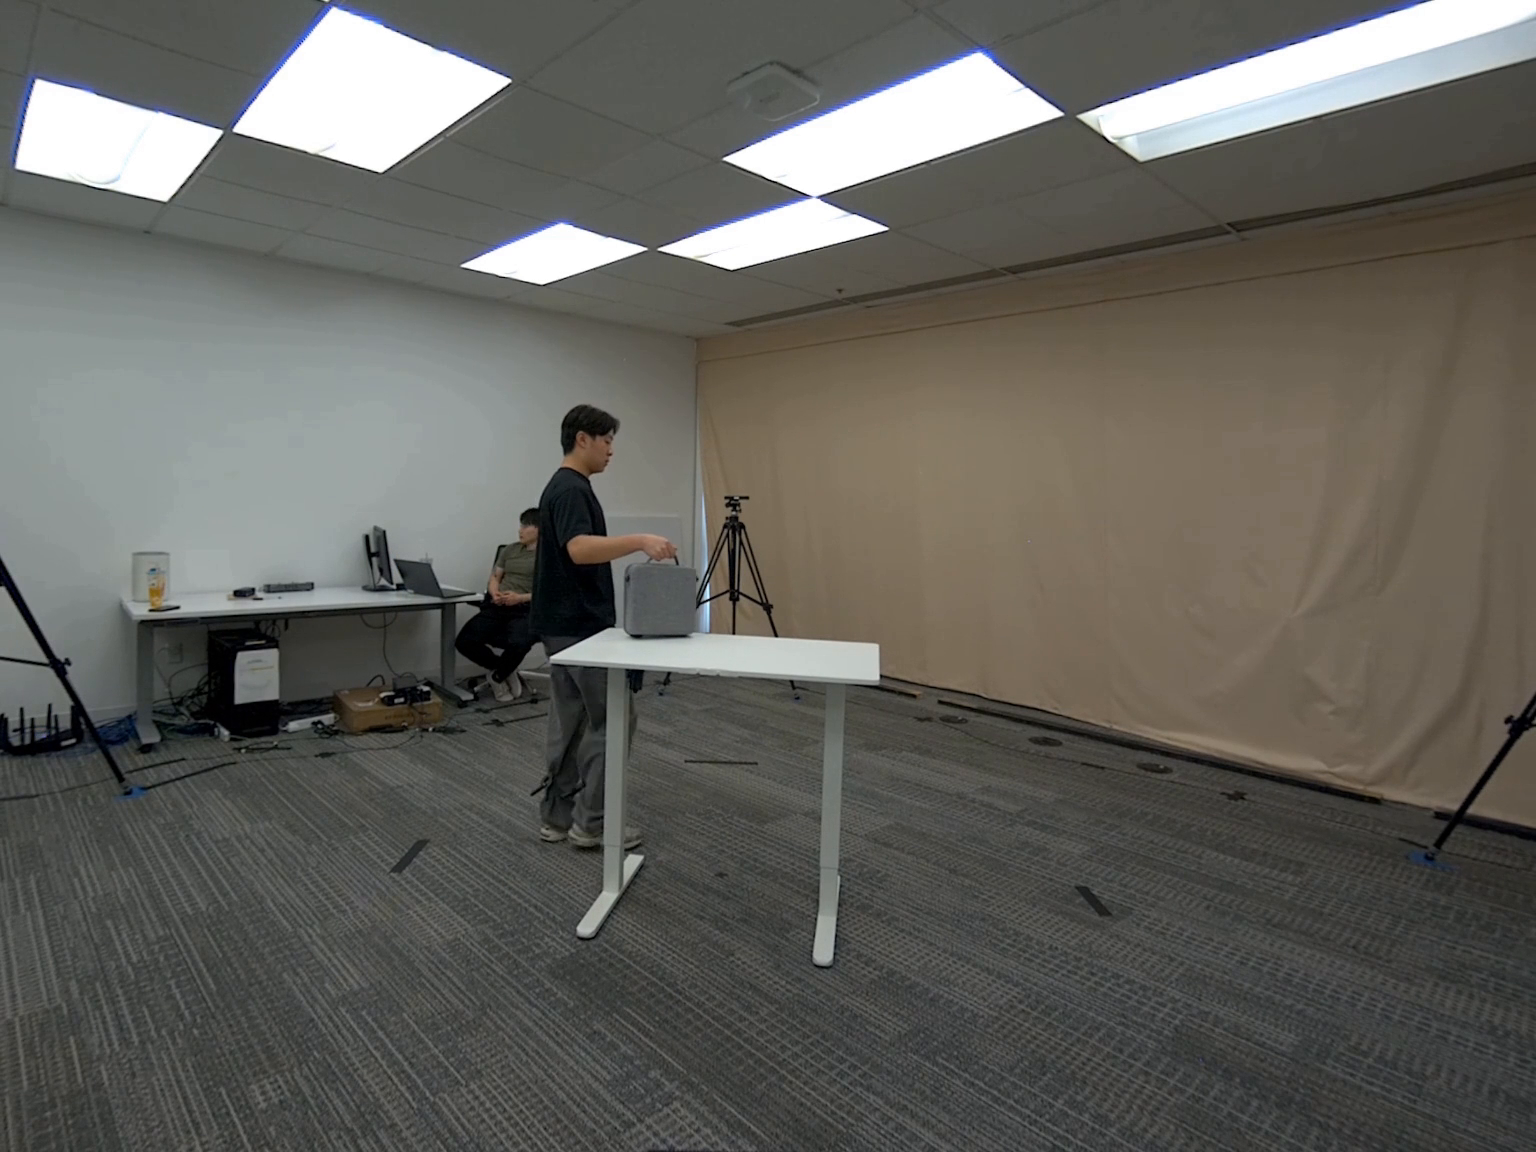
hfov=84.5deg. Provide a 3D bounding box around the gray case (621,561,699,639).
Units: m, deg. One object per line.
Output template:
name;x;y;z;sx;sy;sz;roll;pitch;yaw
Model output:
gray case;-0.388;0.074;3.011;0.259;0.287;0.104;2;-2;-20
